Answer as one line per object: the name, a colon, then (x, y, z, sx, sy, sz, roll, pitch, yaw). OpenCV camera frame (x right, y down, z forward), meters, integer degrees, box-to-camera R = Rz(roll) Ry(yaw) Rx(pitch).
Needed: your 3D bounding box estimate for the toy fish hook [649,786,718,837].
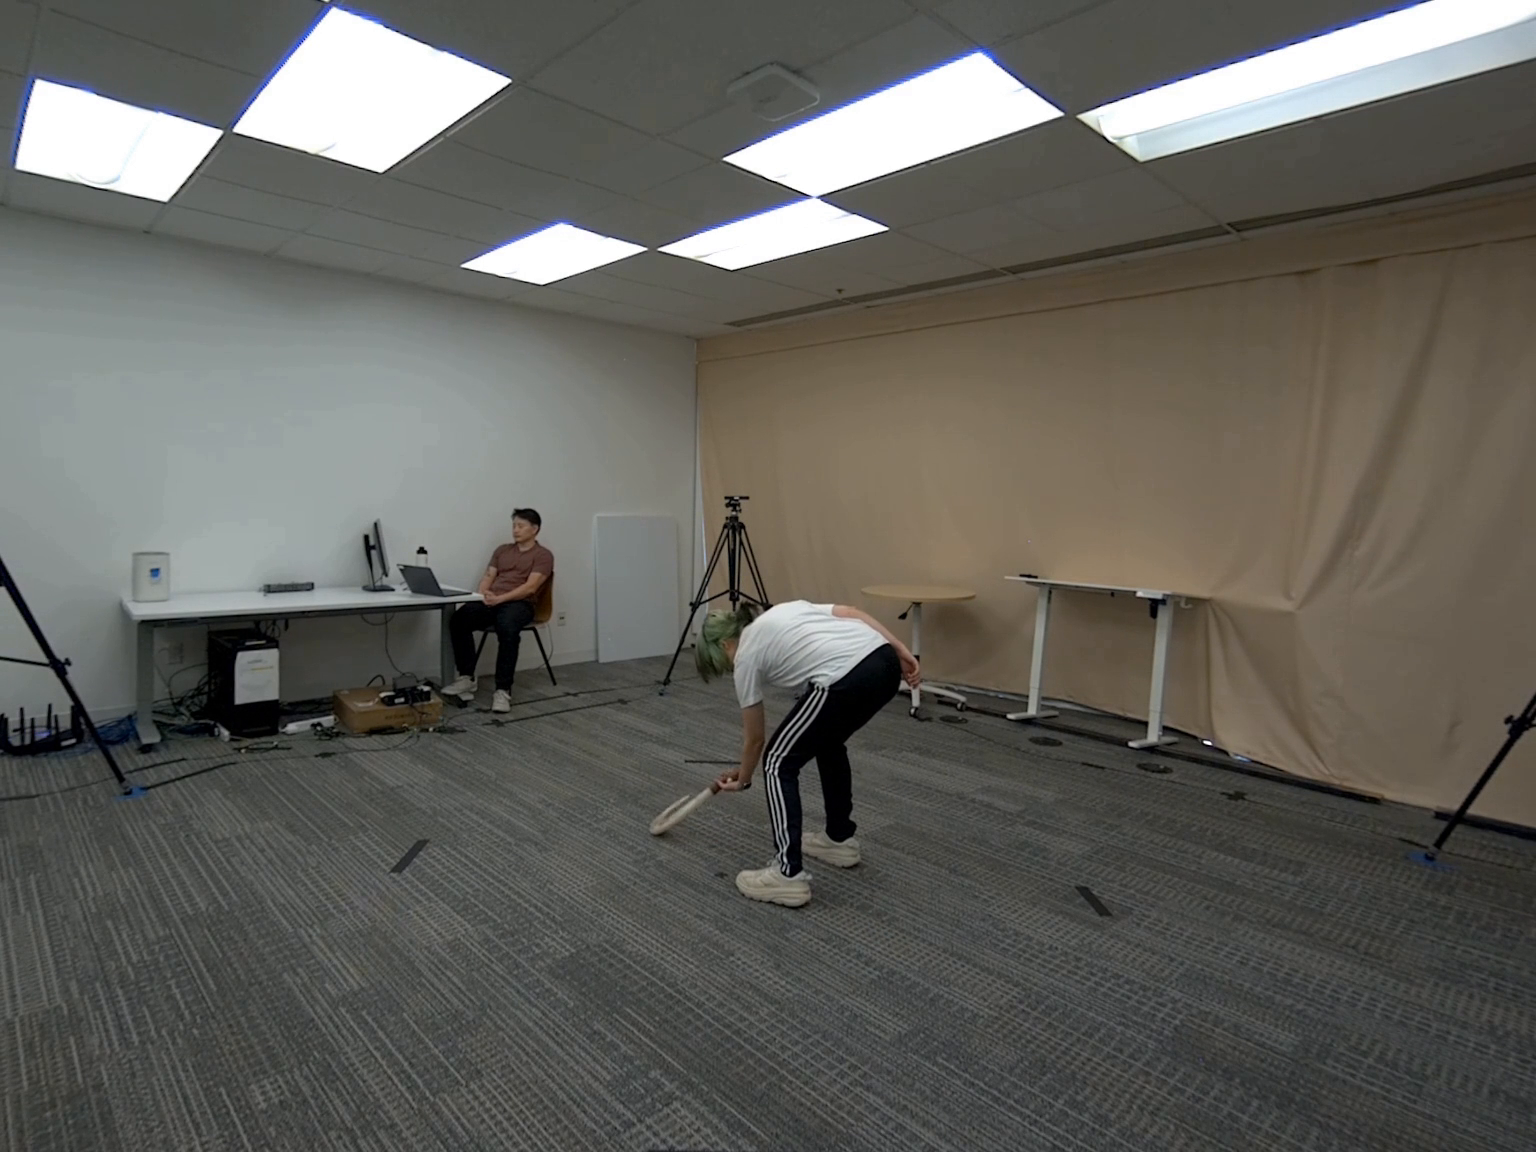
toy fish hook: (-0.292, 0.915, 3.519, 0.507, 0.048, 0.227, -33, 12, 1)
